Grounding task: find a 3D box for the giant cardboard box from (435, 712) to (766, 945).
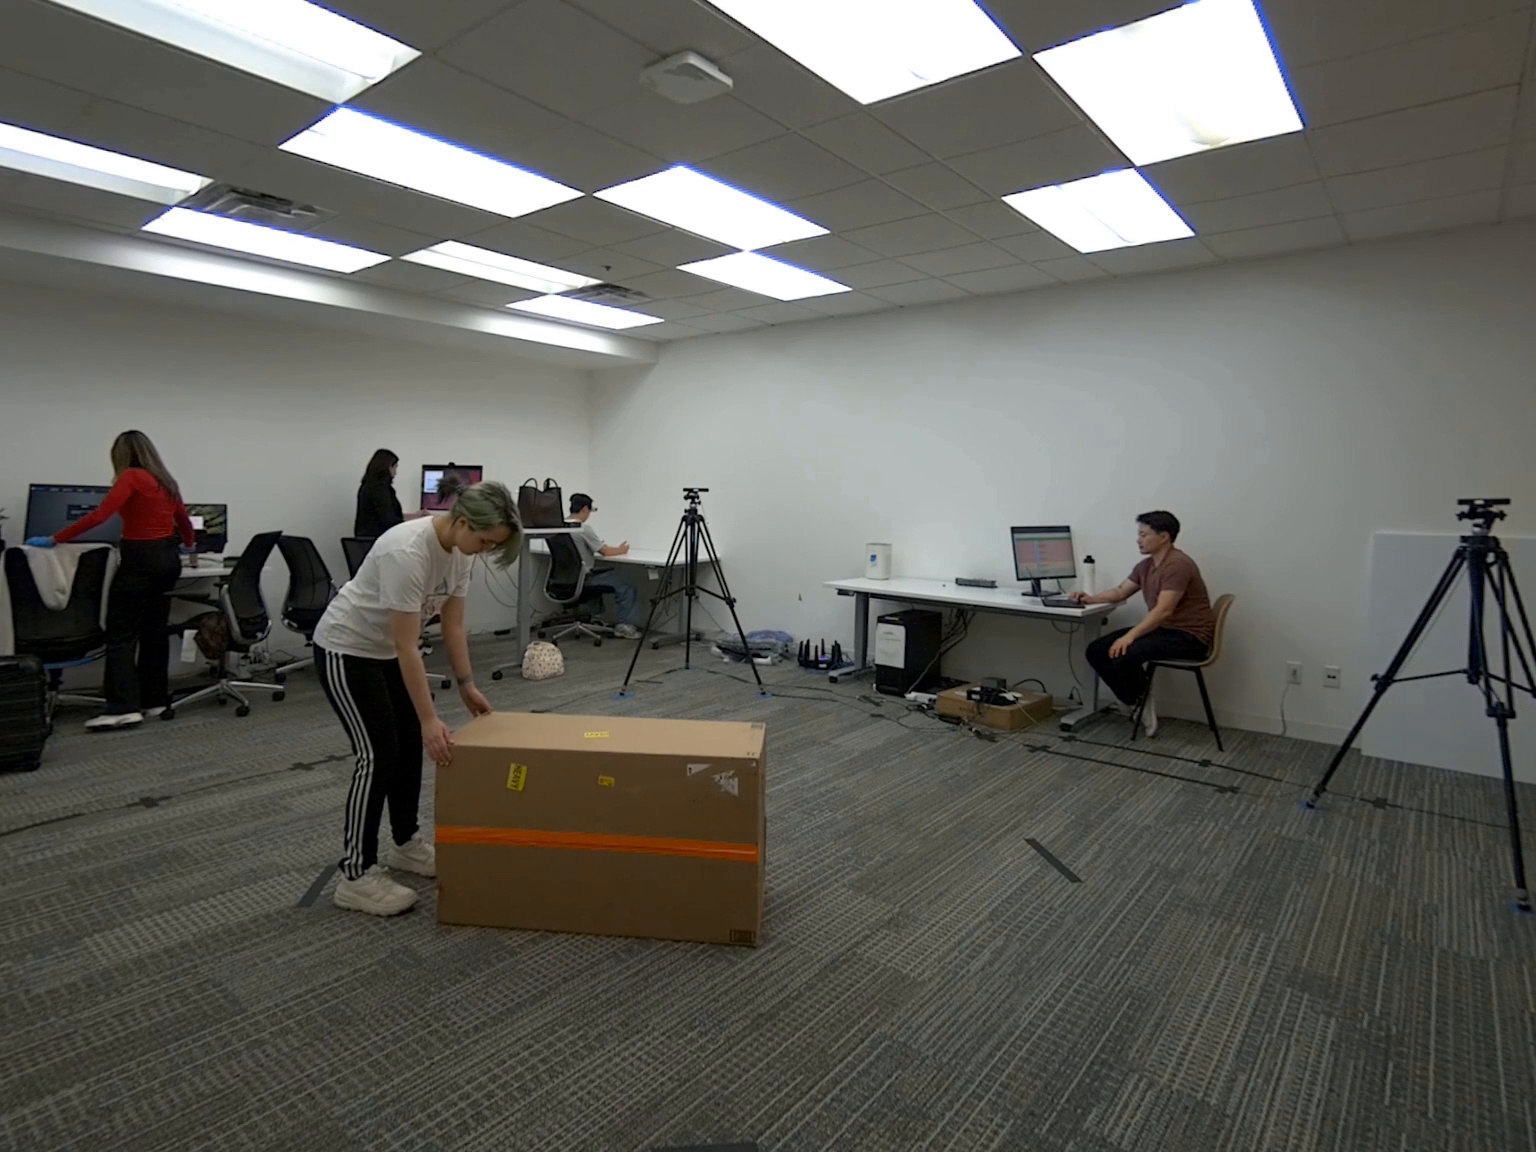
[{"bbox_3d":[-0.538,0.806,2.821,1.034,0.582,0.445,1,4,5],"label":"giant cardboard box"}]
